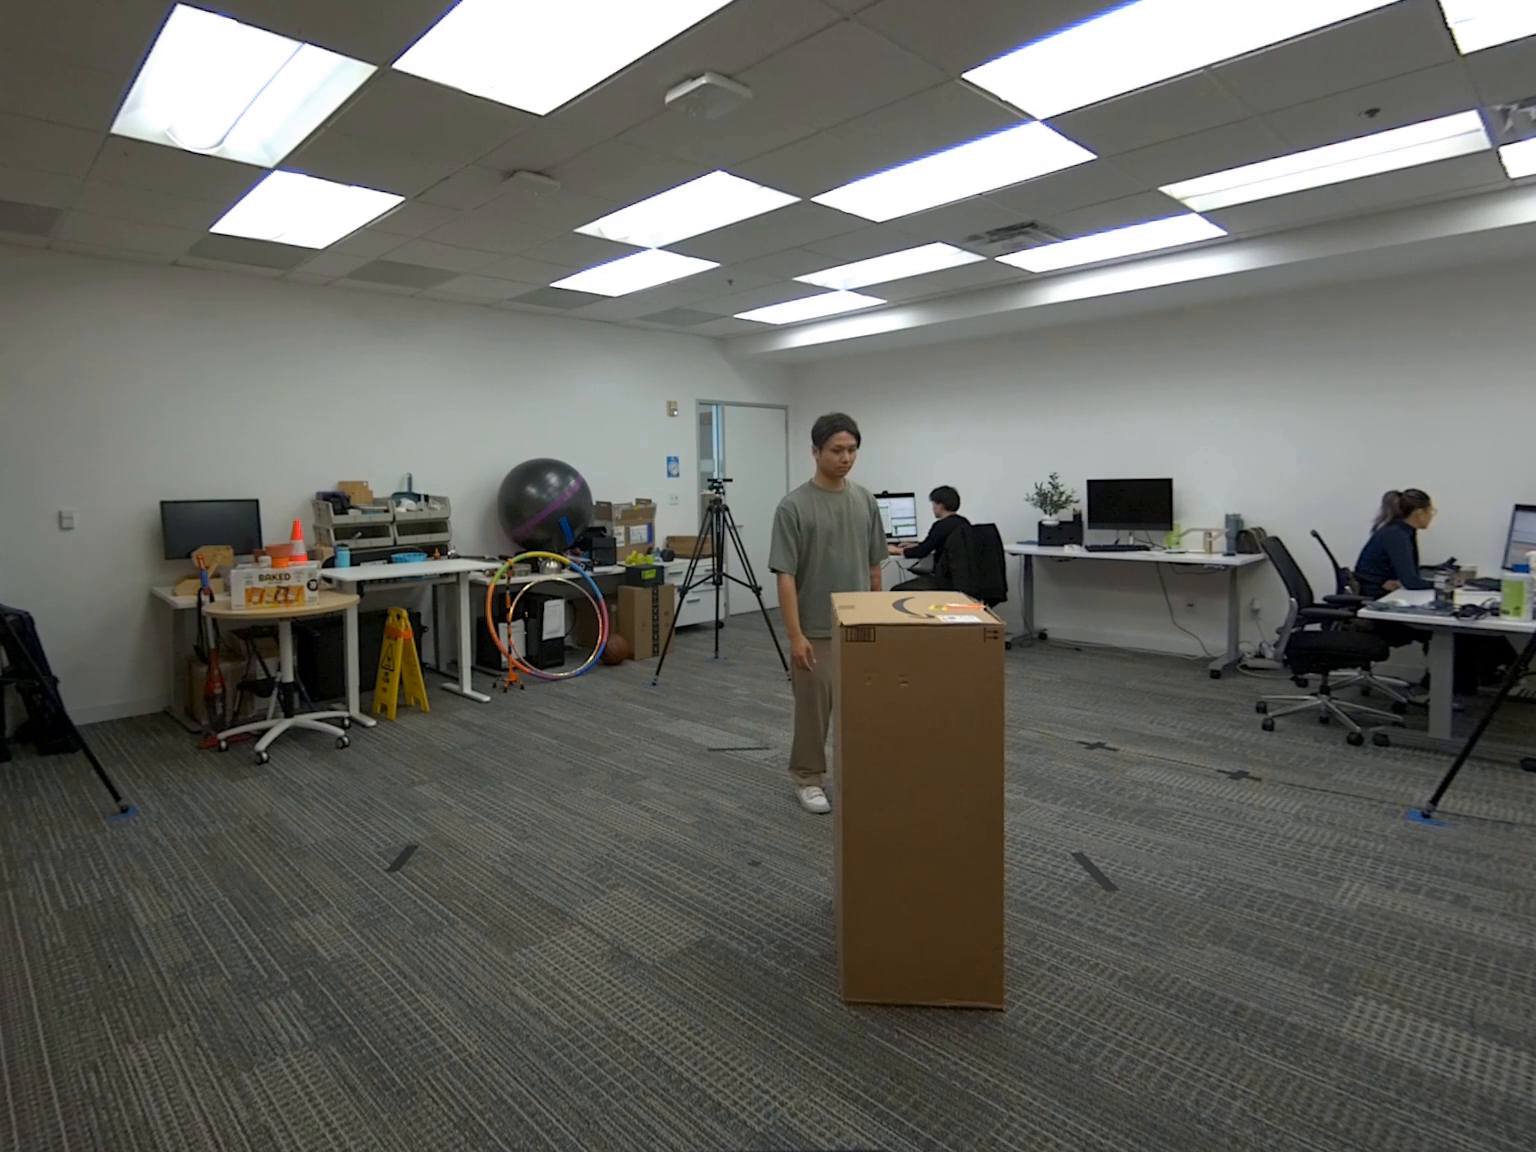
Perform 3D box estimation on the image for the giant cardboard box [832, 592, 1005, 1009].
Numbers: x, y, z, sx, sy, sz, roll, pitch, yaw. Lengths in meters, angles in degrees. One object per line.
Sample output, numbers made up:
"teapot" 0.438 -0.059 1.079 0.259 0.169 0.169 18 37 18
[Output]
"giant cardboard box" 0.417 0.599 2.494 0.428 1.022 0.577 -1 4 4
